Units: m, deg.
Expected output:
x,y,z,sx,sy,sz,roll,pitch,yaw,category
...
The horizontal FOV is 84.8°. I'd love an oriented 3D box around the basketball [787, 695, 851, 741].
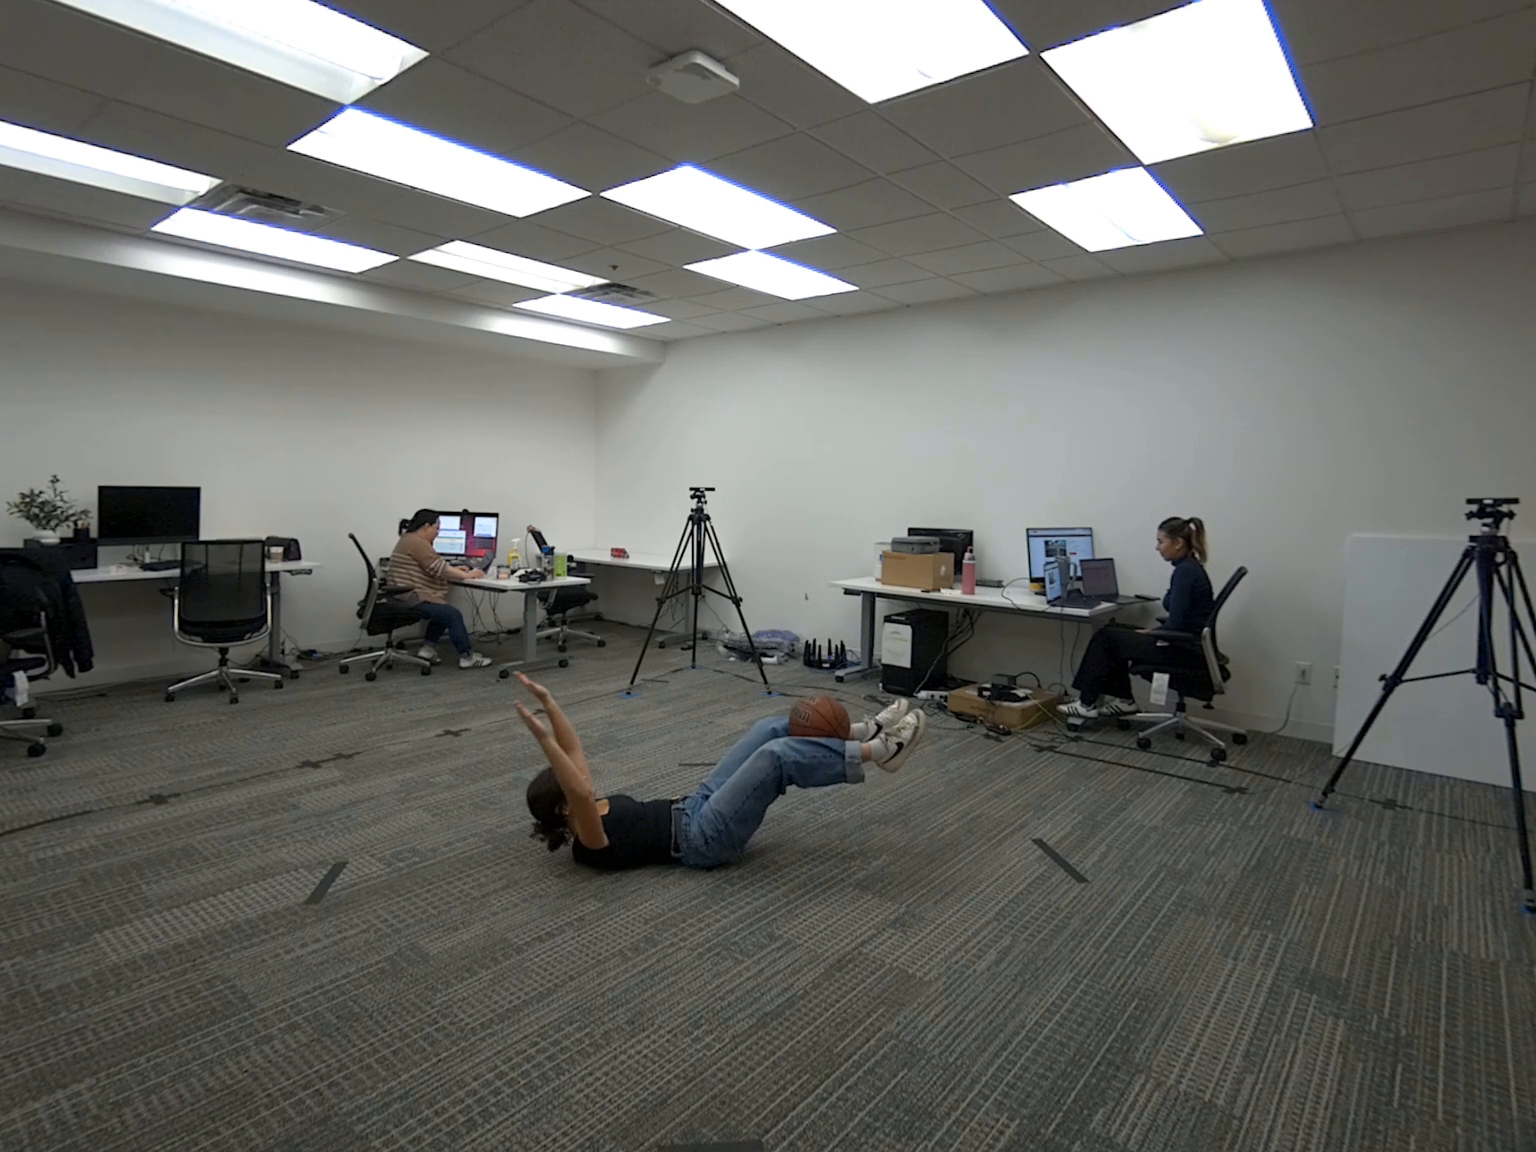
x,y,z,sx,sy,sz,roll,pitch,yaw,category
0.191,0.570,3.284,0.235,0.235,0.237,1,4,-2,basketball
